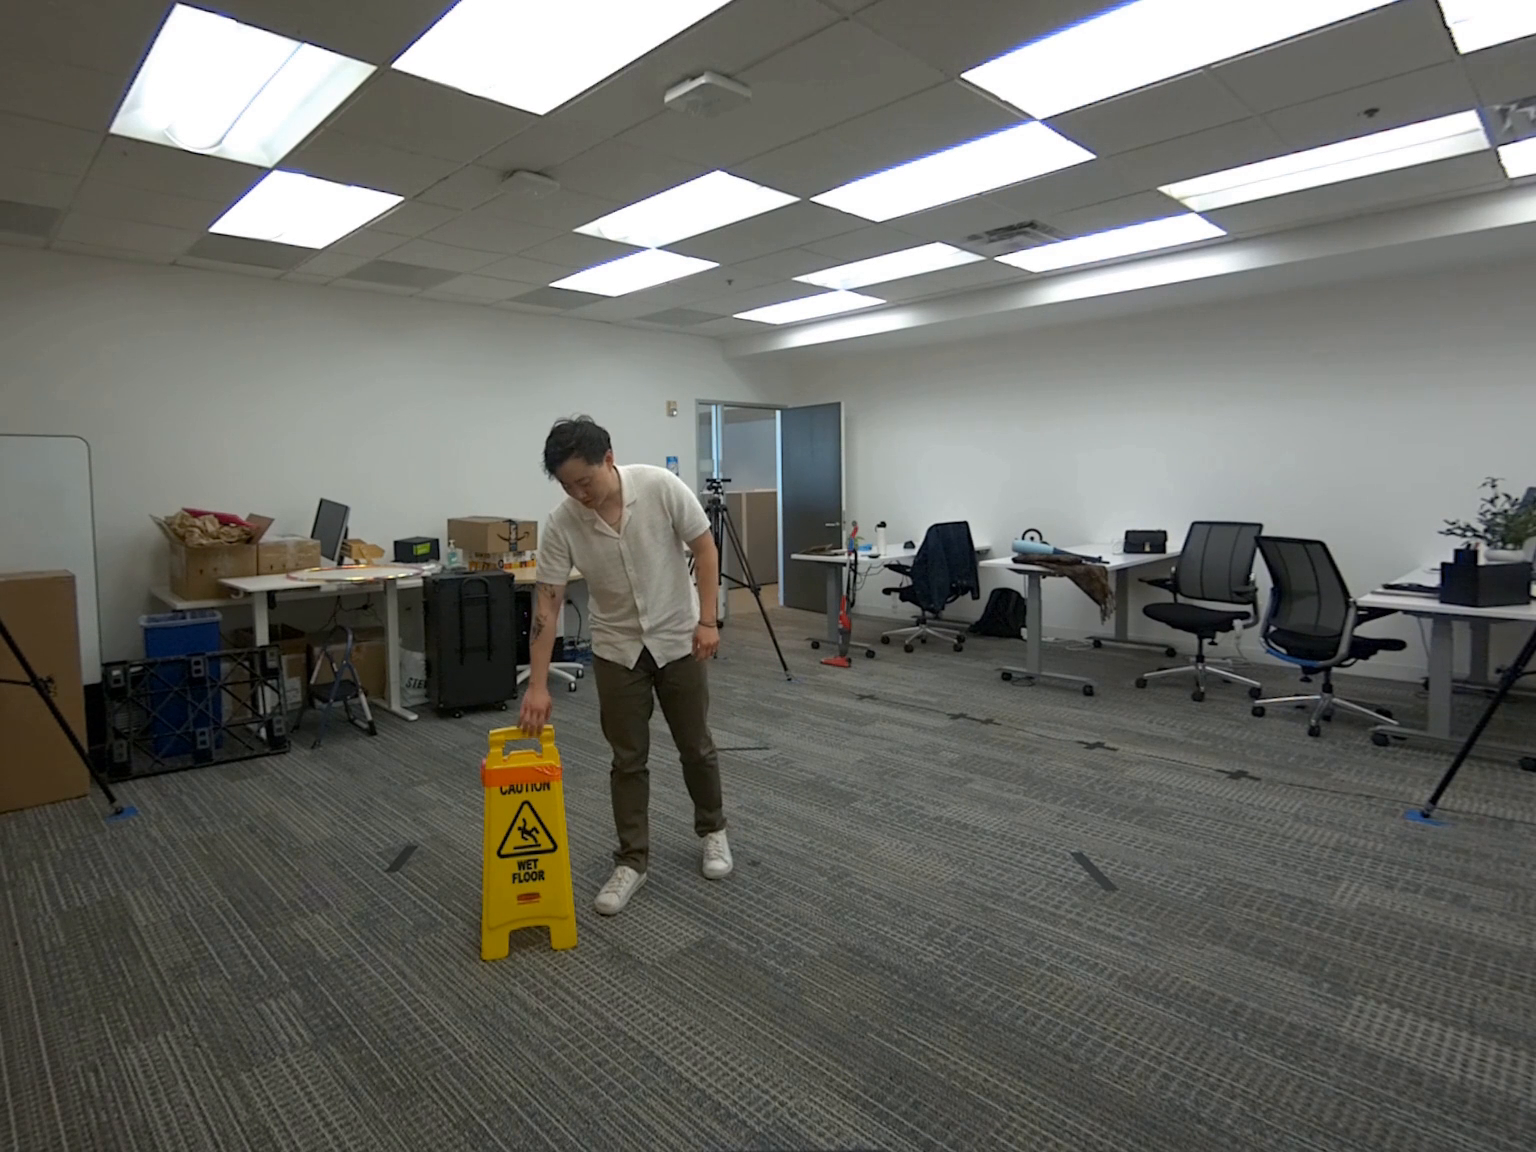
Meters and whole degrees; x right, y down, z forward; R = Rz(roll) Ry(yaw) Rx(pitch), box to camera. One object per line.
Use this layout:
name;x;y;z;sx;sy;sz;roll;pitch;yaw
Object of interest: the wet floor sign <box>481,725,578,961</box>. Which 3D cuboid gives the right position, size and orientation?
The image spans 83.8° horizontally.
wet floor sign;-0.755;0.786;2.657;0.278;0.644;0.295;-3;4;-15
